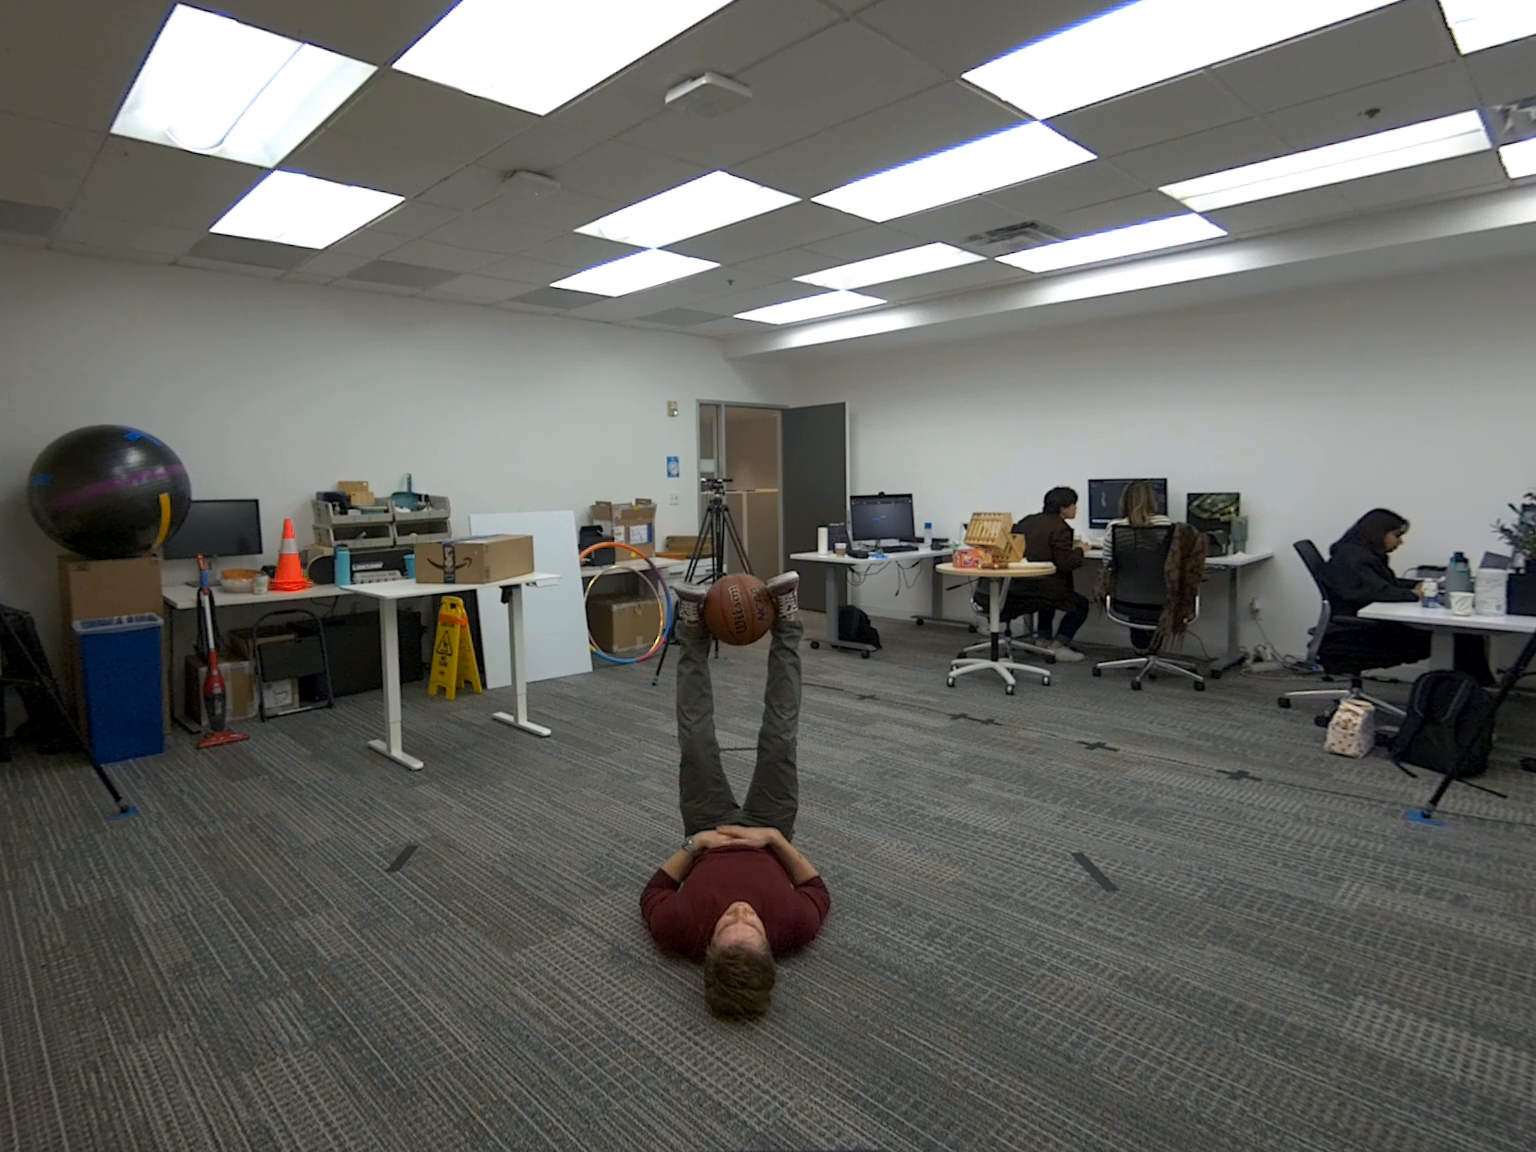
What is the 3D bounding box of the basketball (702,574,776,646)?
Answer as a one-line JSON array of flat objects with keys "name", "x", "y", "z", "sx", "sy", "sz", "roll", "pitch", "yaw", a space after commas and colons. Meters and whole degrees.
[{"name": "basketball", "x": -0.080, "y": 0.111, "z": 2.854, "sx": 0.236, "sy": 0.236, "sz": 0.236, "roll": 0, "pitch": 1, "yaw": -2}]
